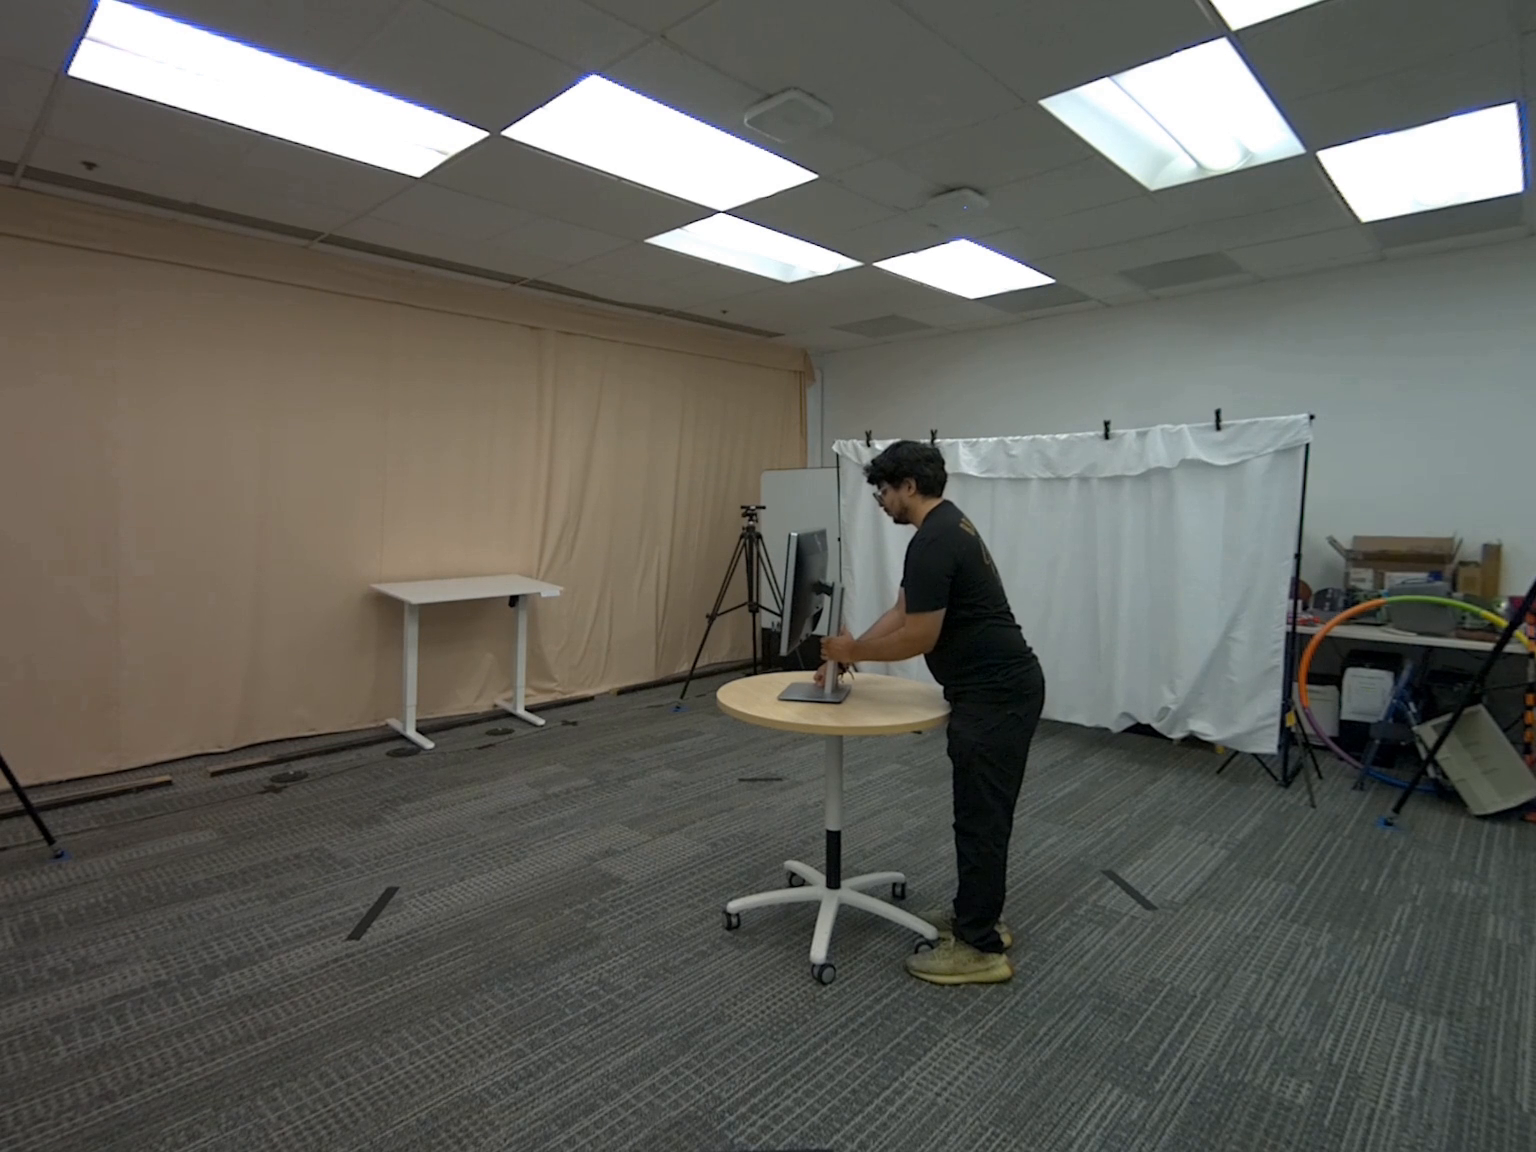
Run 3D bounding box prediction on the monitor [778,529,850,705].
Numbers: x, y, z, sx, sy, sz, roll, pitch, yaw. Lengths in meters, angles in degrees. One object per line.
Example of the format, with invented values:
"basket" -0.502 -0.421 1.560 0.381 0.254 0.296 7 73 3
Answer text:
"monitor" 0.180 0.125 2.717 0.214 0.552 0.557 2 5 15
